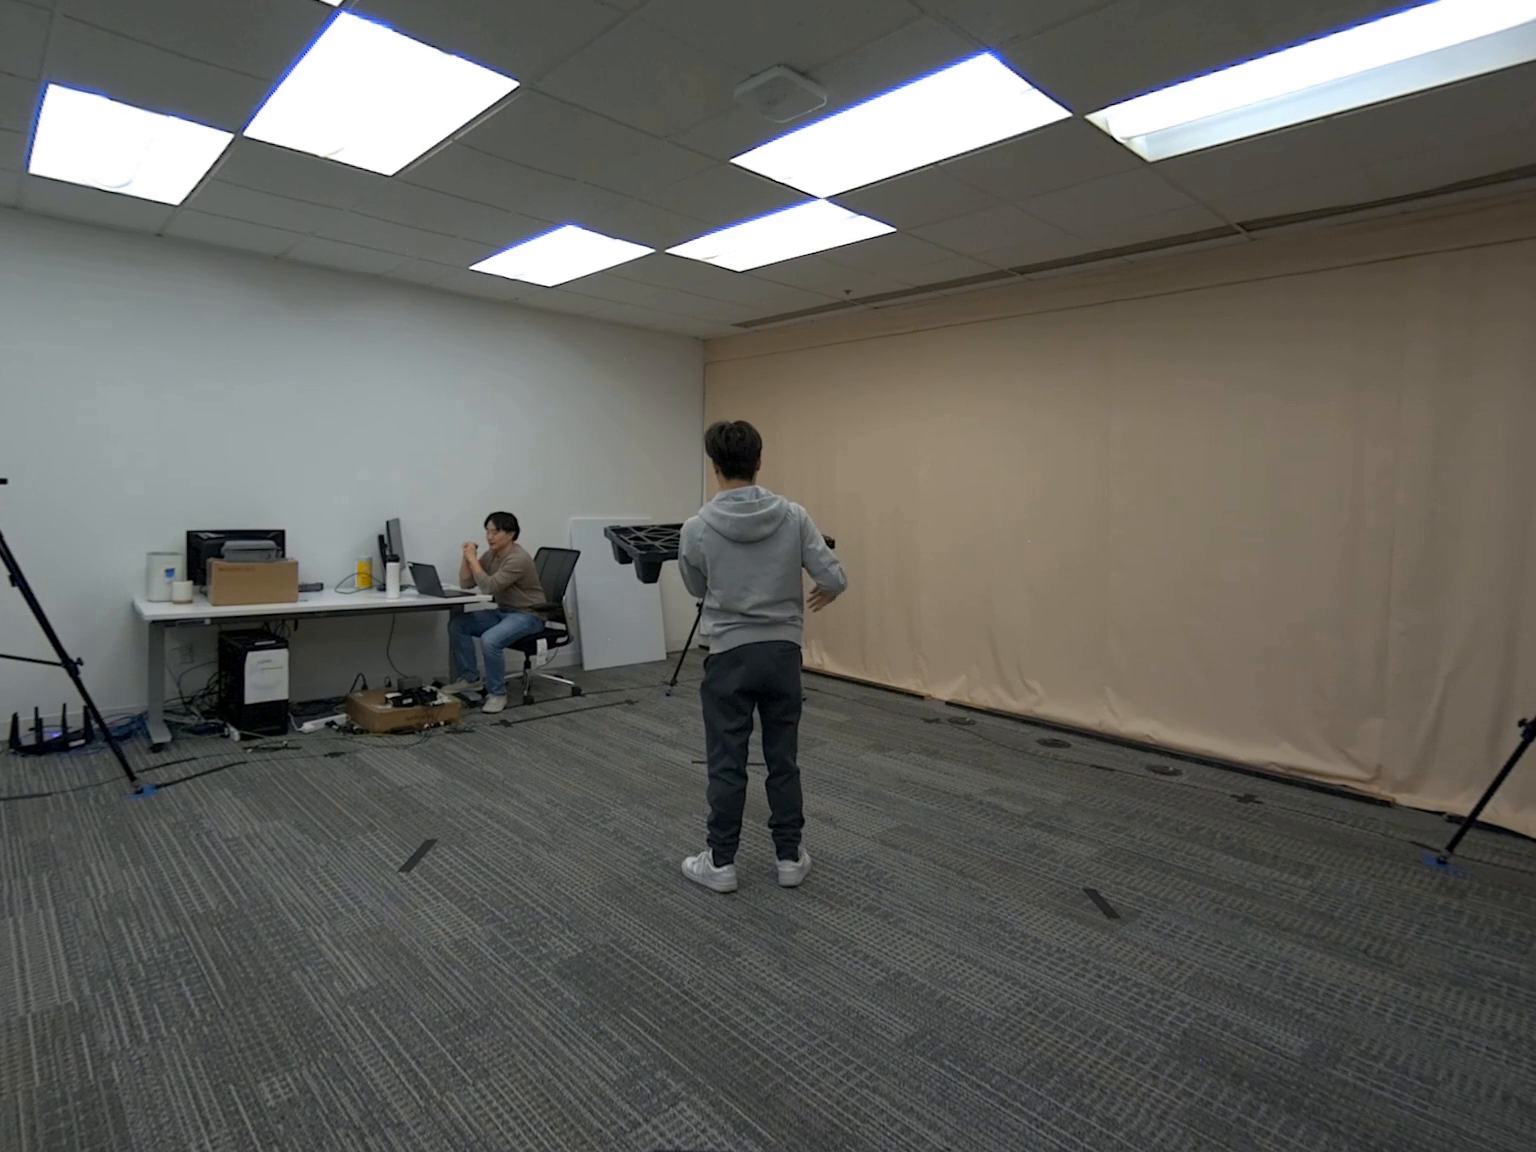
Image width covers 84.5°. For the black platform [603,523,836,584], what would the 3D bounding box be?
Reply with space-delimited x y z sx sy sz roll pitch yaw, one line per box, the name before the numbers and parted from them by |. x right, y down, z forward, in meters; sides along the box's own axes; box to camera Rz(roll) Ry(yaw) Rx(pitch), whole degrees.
black platform | -0.223 -0.112 3.452 0.794 0.142 0.619 -4 12 -21
